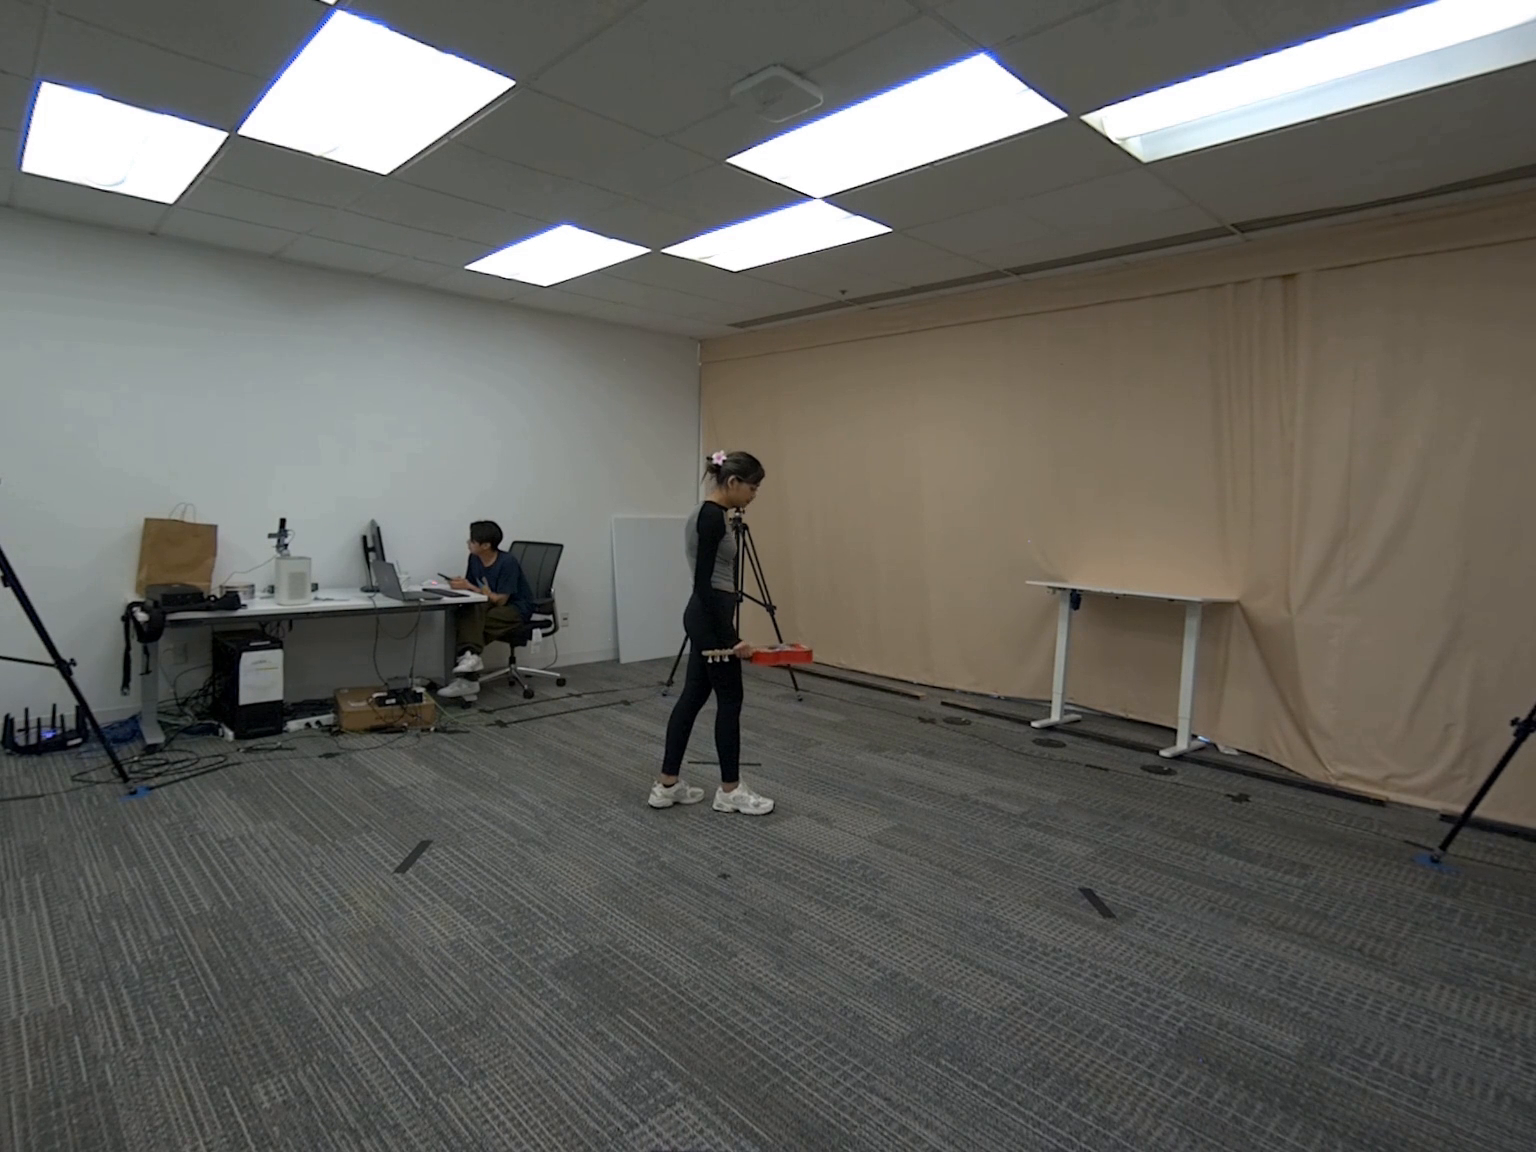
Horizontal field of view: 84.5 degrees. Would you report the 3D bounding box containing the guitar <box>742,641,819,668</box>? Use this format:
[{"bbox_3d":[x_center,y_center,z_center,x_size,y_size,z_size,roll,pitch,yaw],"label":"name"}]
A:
[{"bbox_3d":[-0.054,0.334,3.612,0.491,0.070,0.196,0,3,-17],"label":"guitar"}]
